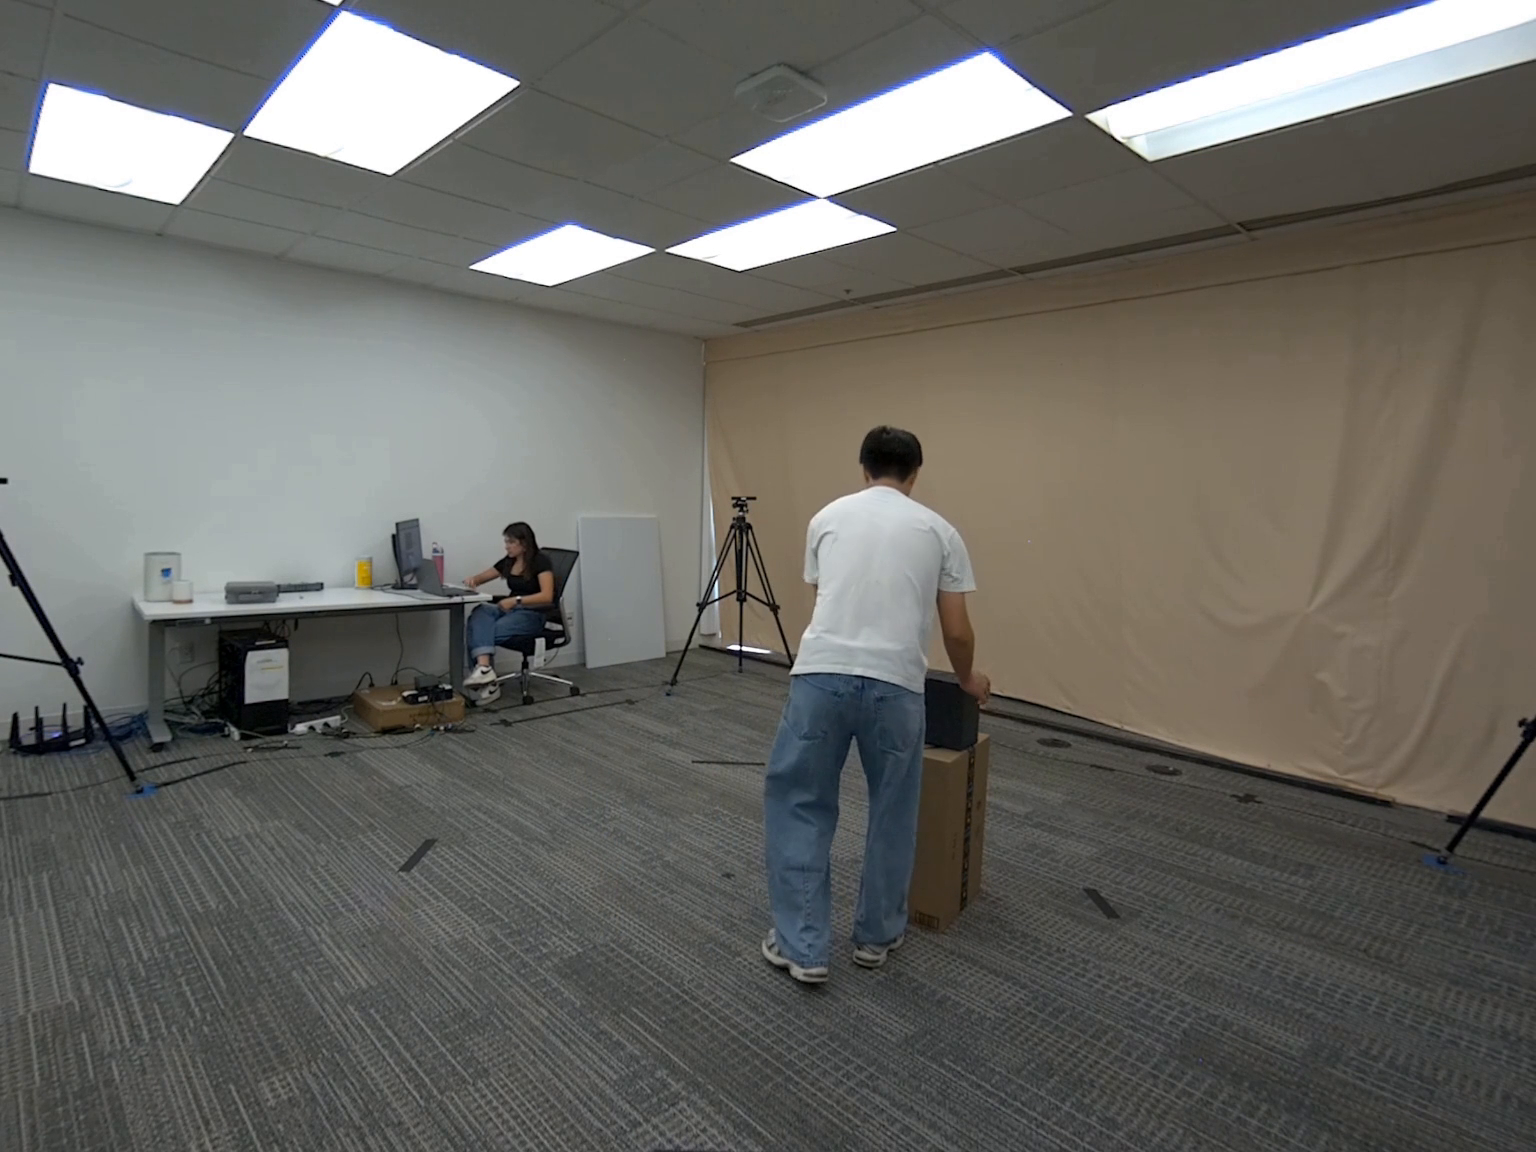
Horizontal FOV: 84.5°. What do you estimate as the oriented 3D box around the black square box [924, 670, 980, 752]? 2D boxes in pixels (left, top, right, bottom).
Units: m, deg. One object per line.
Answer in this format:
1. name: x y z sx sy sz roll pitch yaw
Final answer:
1. black square box: 0.595 0.457 2.928 0.222 0.227 0.153 8 9 36
